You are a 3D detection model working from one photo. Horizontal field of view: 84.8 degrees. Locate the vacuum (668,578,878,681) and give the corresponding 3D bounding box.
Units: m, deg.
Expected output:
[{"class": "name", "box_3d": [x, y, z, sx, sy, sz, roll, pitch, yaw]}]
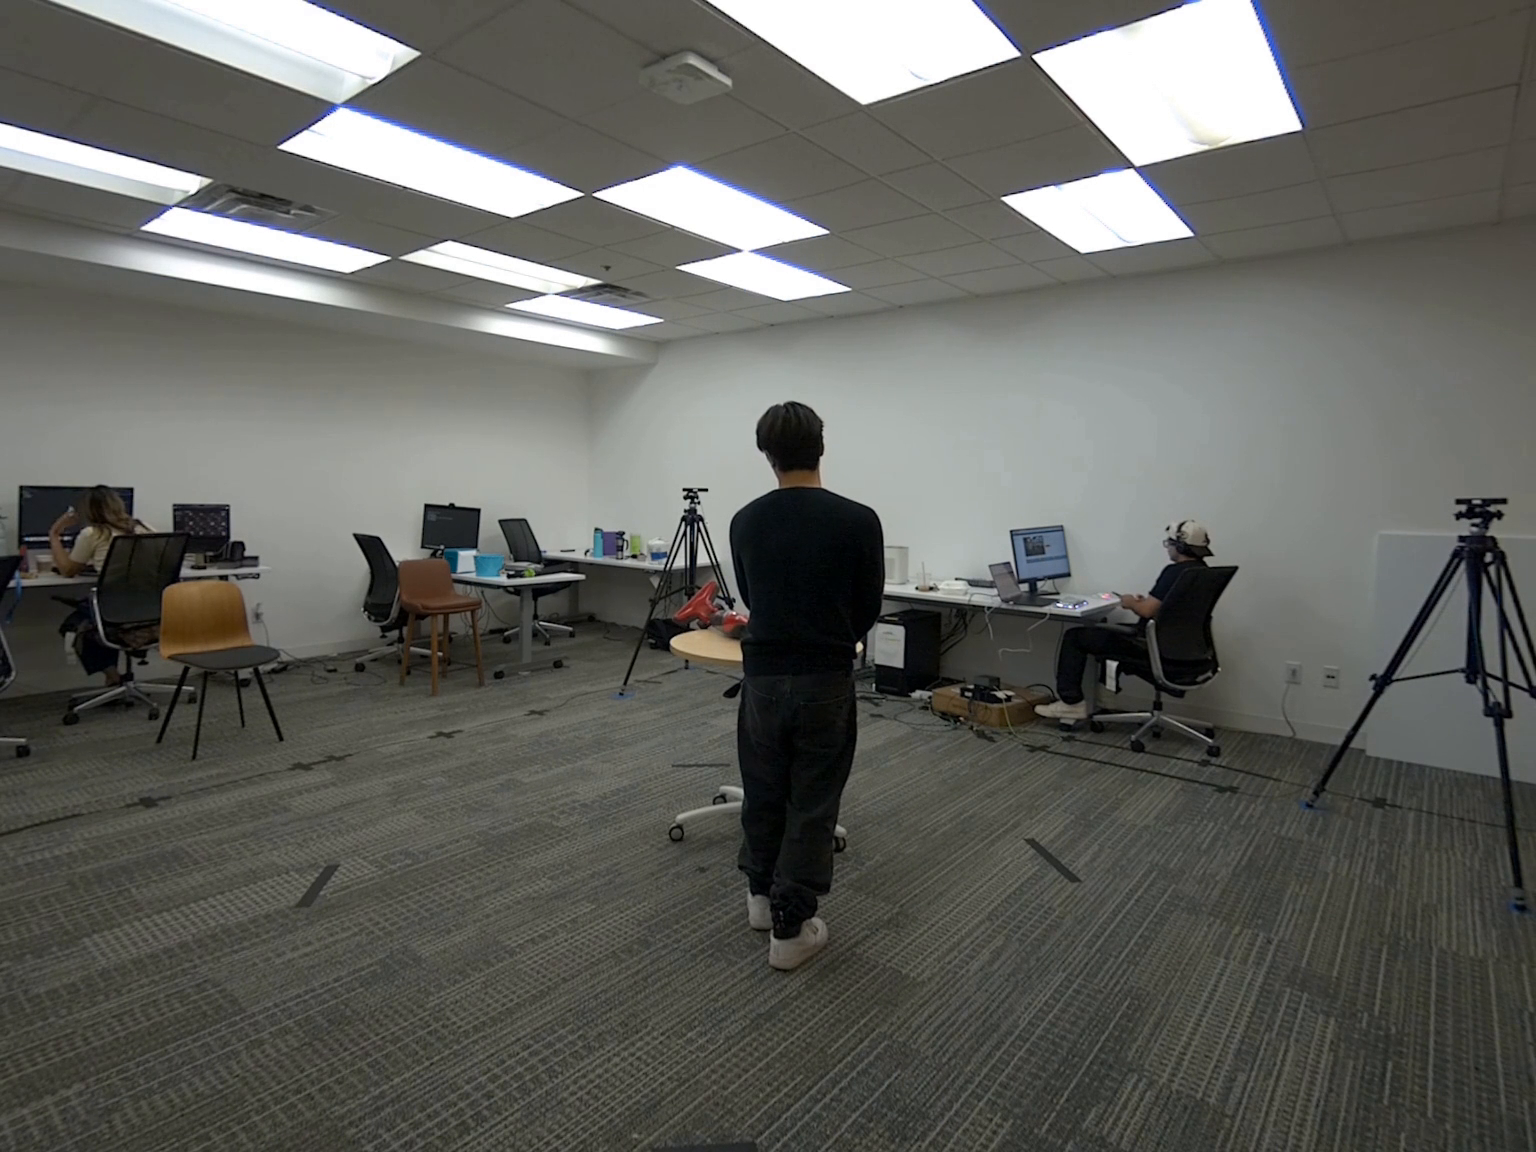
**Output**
[{"class": "vacuum", "box_3d": [-0.032, 0.229, 3.290, 0.252, 0.139, 1.085, -44, 28, -18]}]
